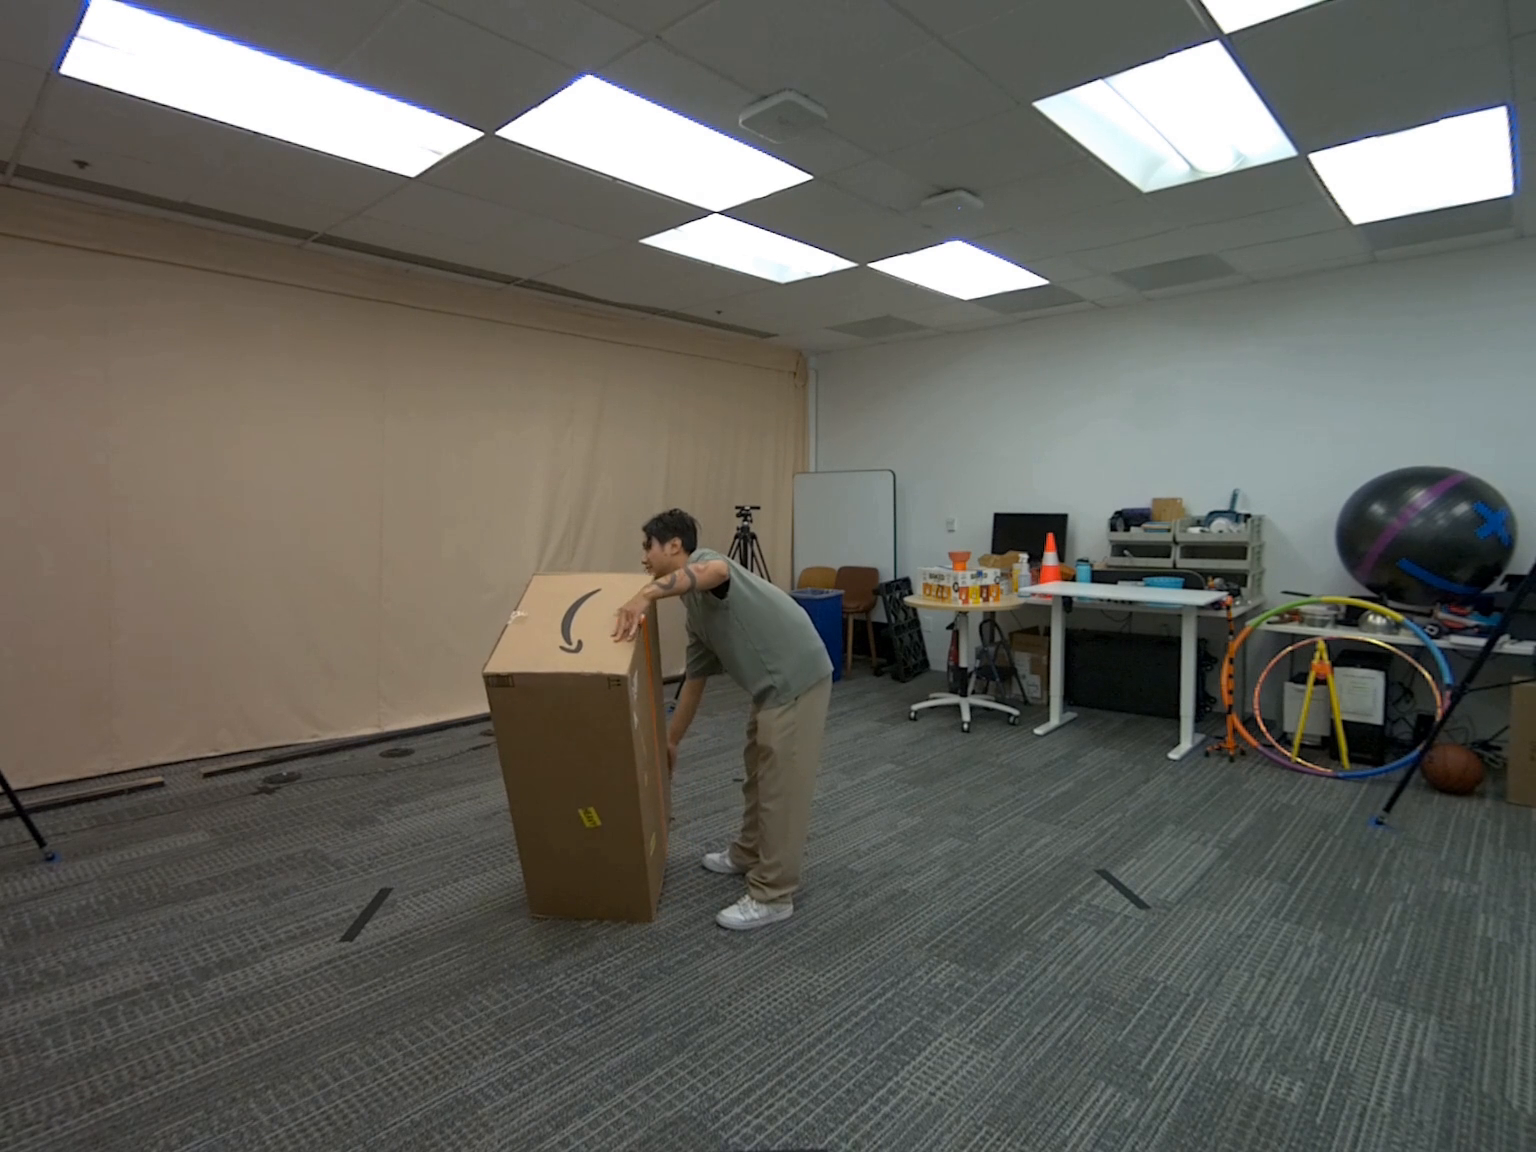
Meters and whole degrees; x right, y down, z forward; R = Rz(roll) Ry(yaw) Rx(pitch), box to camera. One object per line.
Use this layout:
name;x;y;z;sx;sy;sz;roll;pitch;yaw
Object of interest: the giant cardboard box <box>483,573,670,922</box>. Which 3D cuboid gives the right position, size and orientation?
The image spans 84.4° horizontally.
giant cardboard box;-0.597;0.580;2.849;0.428;1.009;0.585;0;28;2
